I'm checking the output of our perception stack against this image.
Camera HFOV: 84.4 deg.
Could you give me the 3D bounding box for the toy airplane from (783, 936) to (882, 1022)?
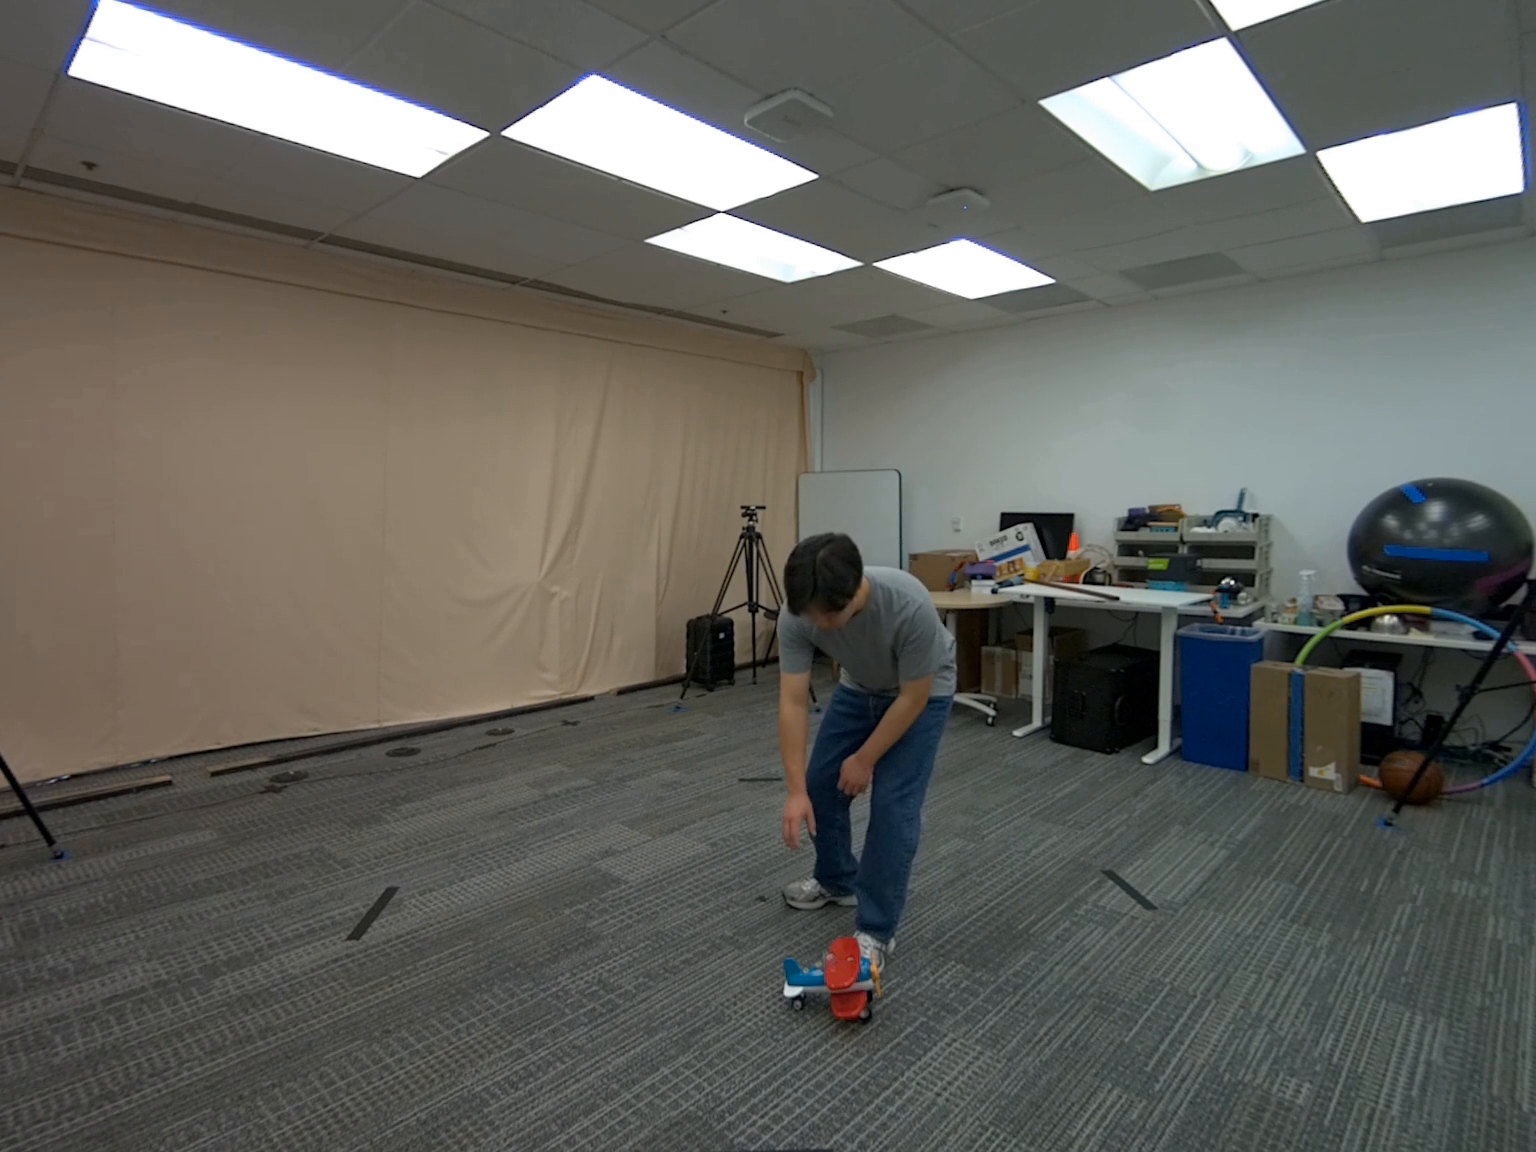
[{"bbox_3d":[0.181,1.125,2.306,0.254,0.156,0.256,0,5,-18],"label":"toy airplane"}]
